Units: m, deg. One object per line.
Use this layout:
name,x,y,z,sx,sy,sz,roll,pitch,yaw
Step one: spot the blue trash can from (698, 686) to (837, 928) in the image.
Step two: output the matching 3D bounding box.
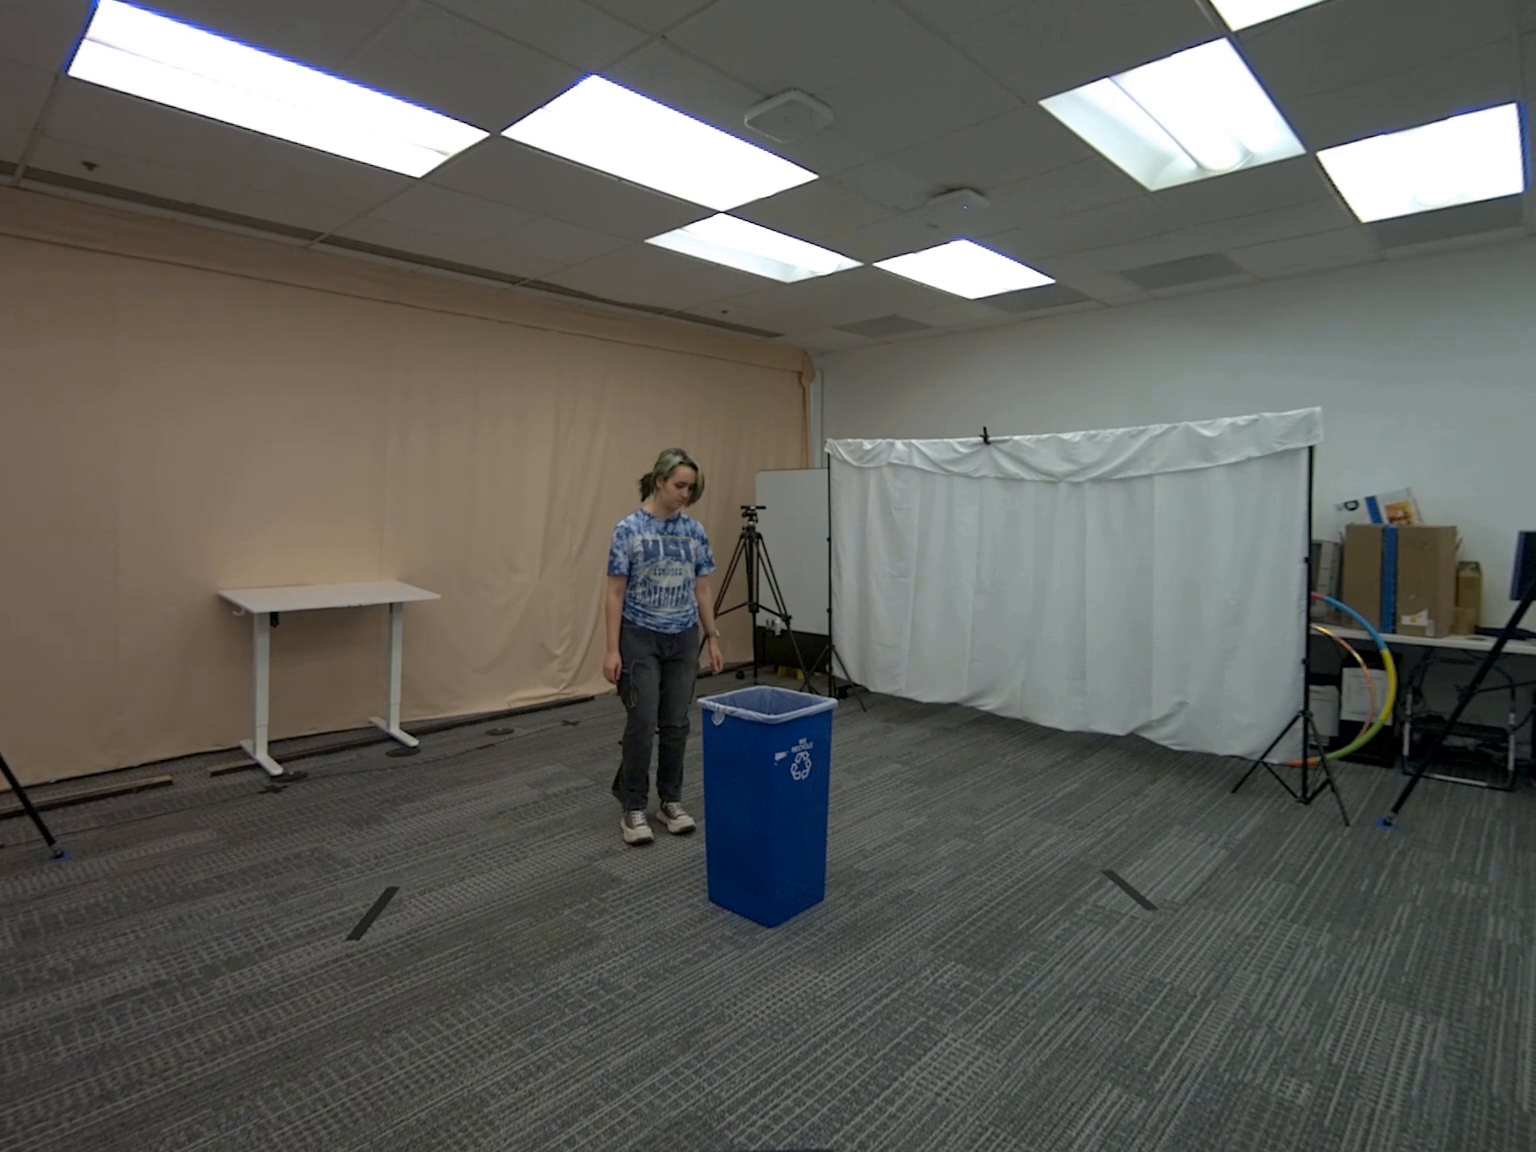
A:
blue trash can,0.001,0.788,2.962,0.391,0.712,0.362,3,5,42
